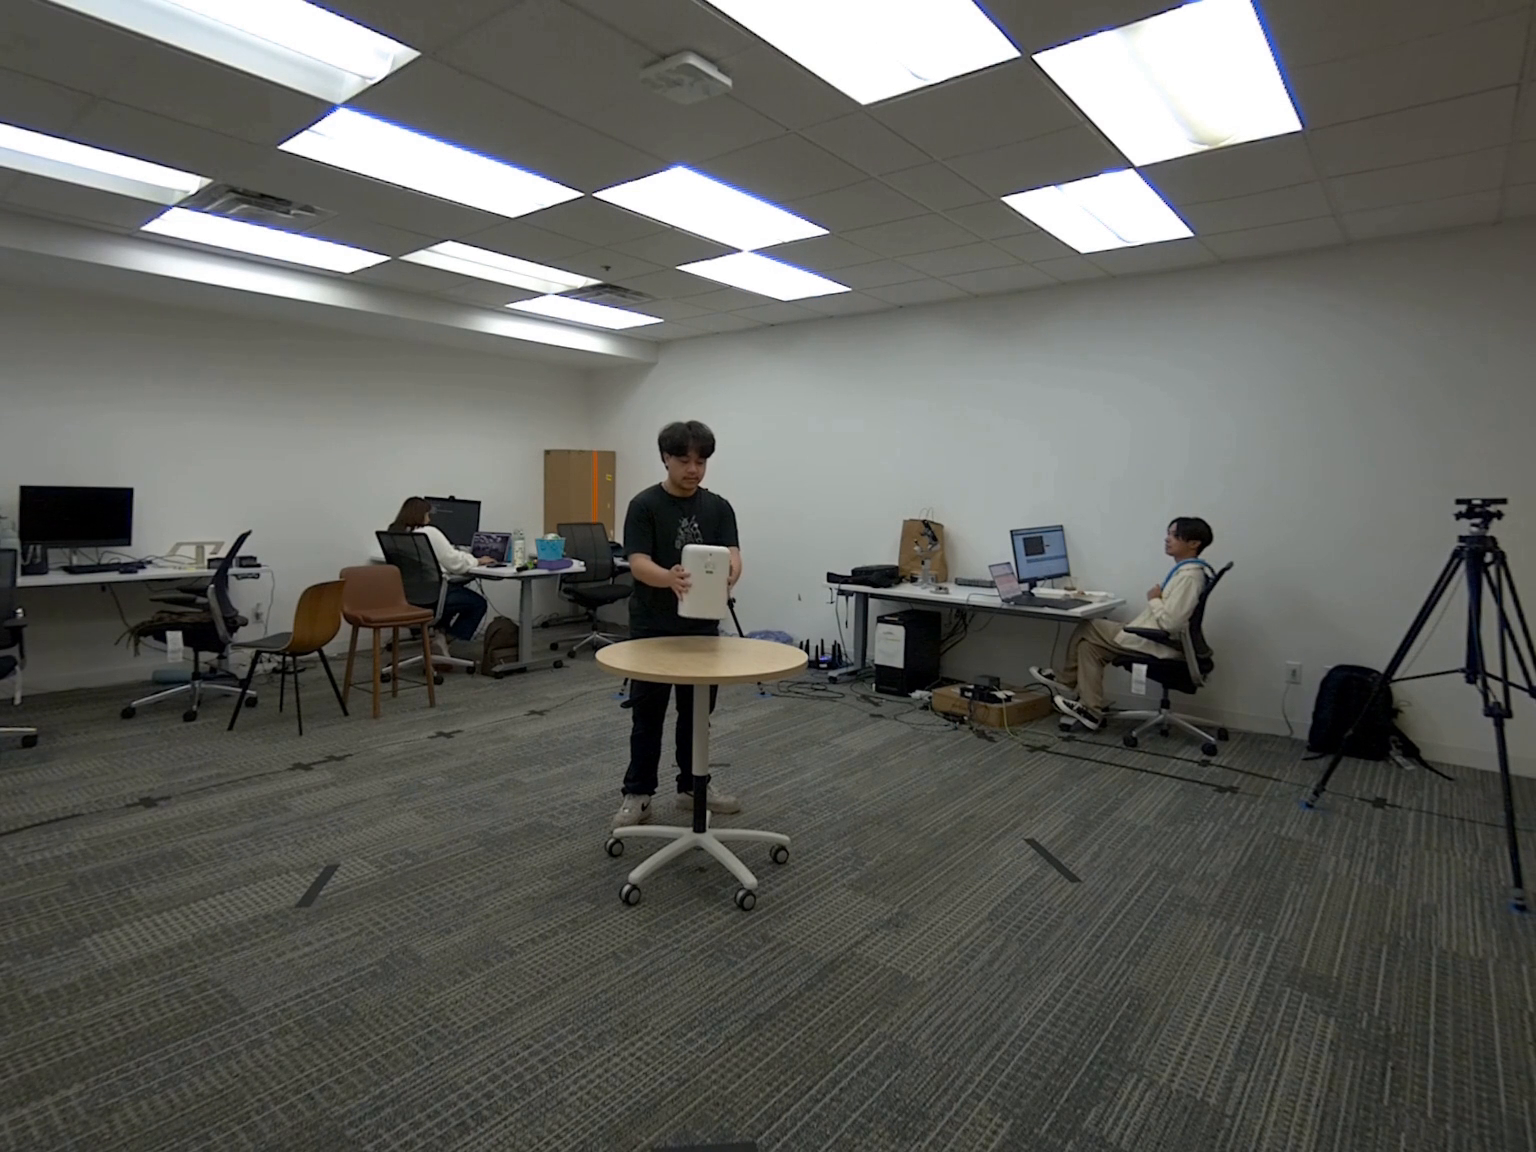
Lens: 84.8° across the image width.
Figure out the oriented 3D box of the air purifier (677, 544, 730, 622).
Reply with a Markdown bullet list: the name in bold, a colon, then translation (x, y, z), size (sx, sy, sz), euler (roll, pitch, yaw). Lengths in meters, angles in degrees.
- **air purifier**: translation (-0.244, 0.013, 3.156), size (0.169, 0.265, 0.174), euler (4, 2, -10)
